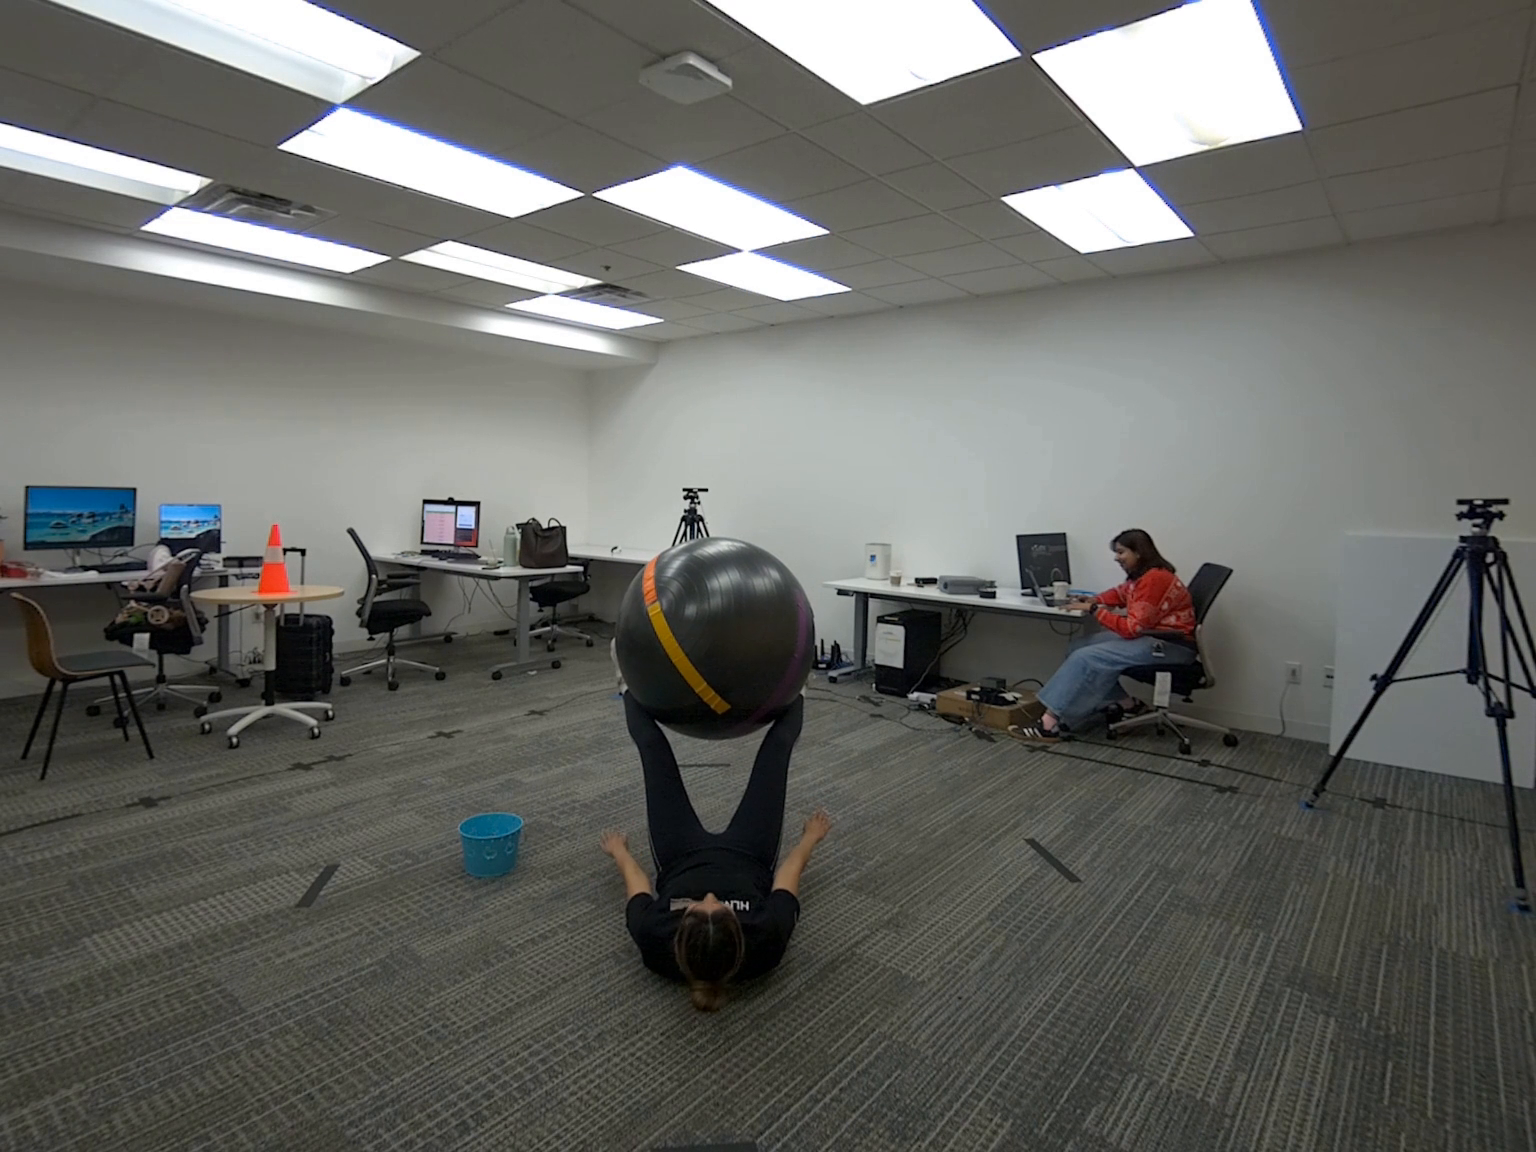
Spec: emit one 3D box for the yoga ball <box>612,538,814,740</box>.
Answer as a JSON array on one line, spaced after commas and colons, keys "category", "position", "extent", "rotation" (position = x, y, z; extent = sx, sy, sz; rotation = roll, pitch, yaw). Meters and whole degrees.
[{"category": "yoga ball", "position": [-0.203, 0.232, 3.208], "extent": [0.757, 0.756, 0.762], "rotation": [1, 4, -2]}]
